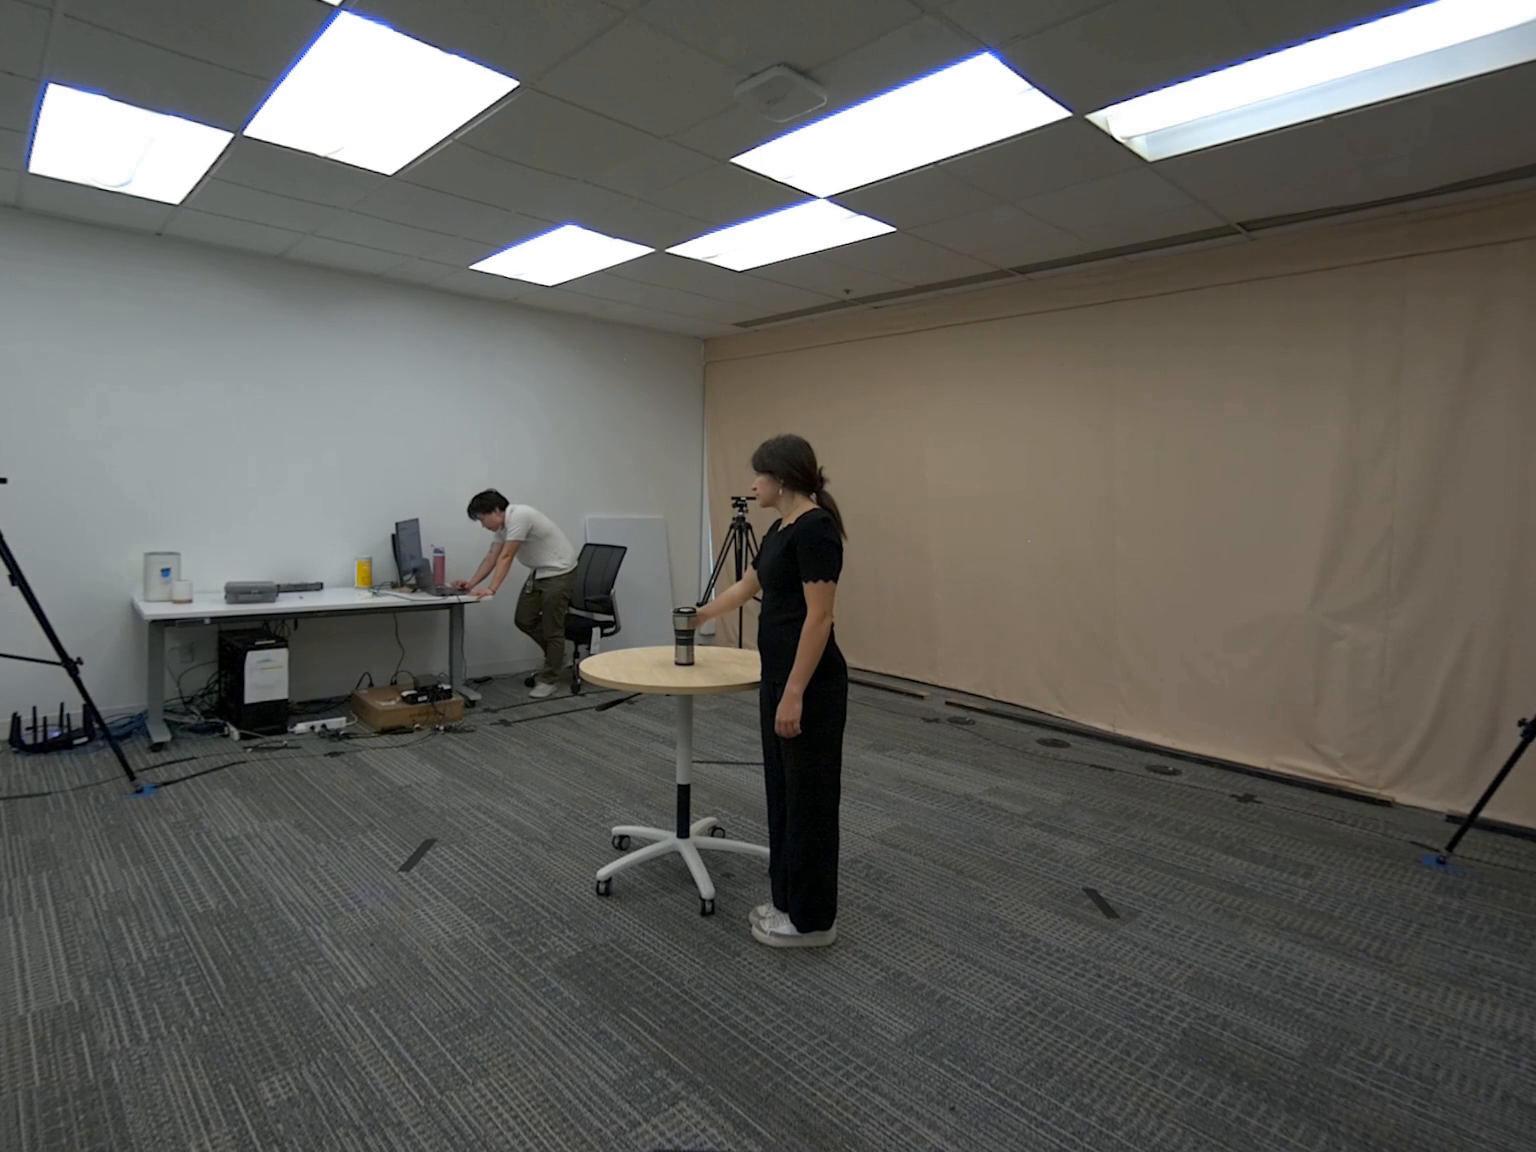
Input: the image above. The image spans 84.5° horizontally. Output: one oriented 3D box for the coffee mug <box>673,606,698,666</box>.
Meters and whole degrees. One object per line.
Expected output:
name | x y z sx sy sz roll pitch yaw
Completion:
coffee mug | -0.303 0.224 3.070 0.090 0.202 0.120 -4 5 32
